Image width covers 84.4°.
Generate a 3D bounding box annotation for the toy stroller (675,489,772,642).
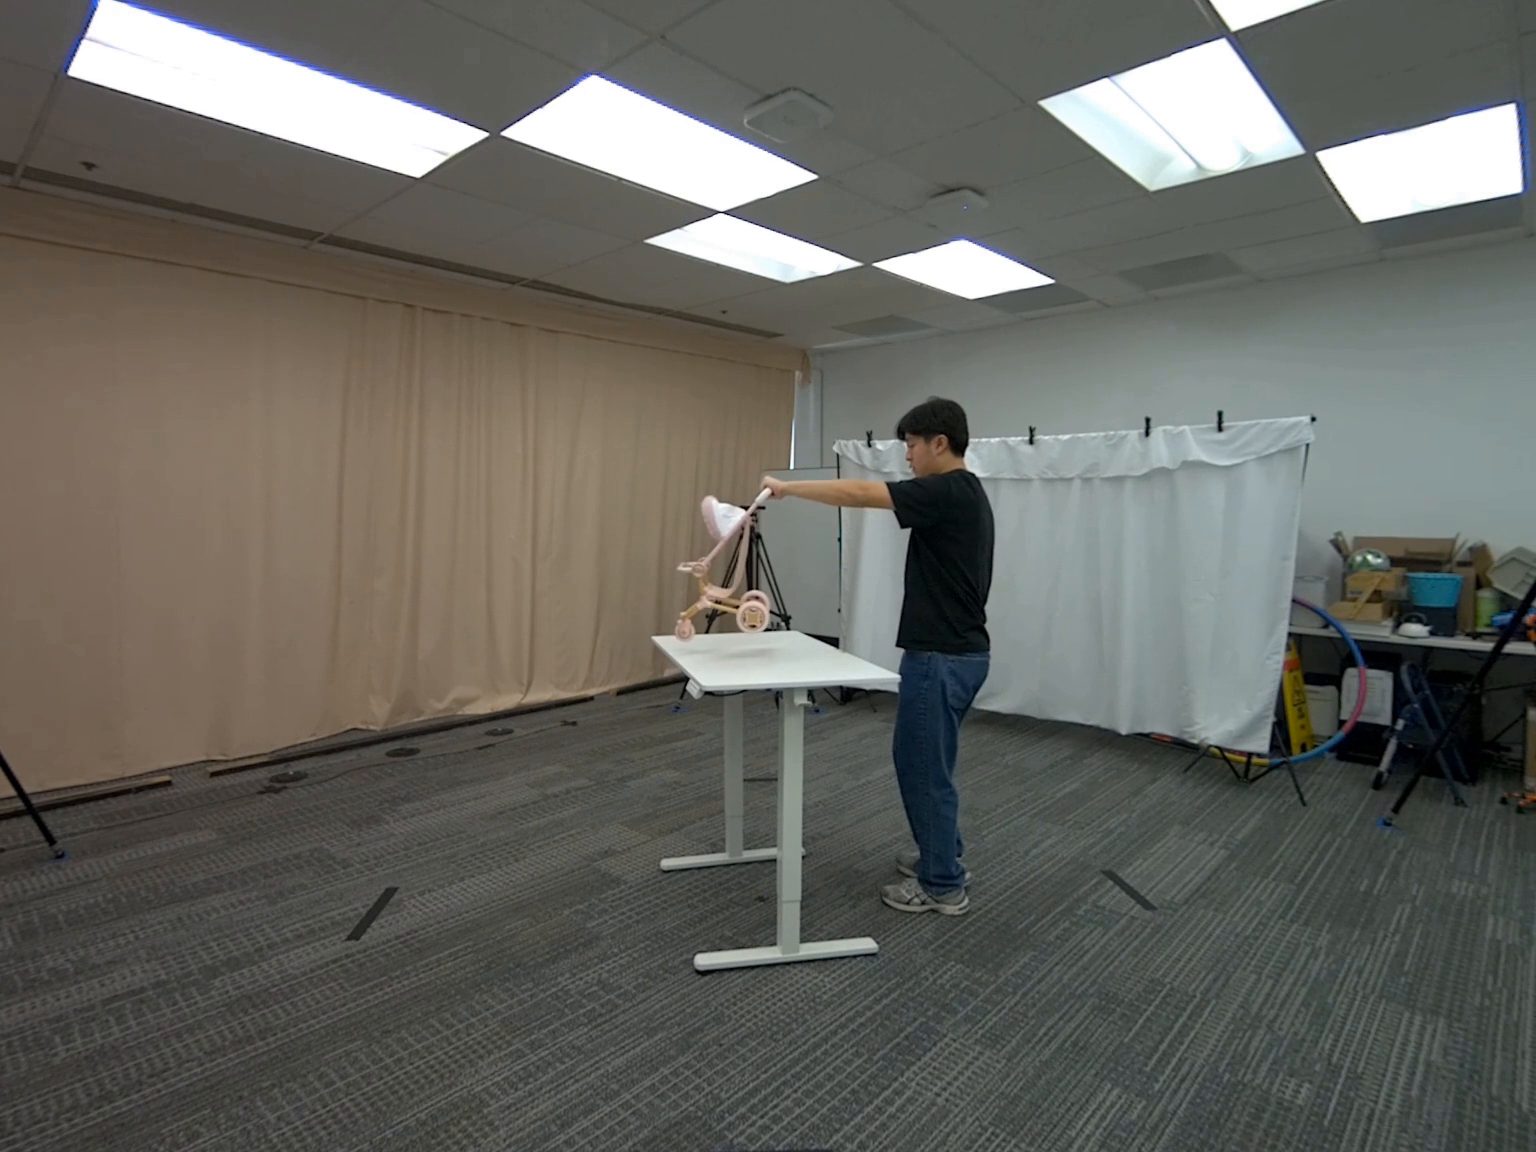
[{"bbox_3d":[-0.156,-0.033,2.891,0.345,0.533,0.280,1,6,8],"label":"toy stroller"}]
